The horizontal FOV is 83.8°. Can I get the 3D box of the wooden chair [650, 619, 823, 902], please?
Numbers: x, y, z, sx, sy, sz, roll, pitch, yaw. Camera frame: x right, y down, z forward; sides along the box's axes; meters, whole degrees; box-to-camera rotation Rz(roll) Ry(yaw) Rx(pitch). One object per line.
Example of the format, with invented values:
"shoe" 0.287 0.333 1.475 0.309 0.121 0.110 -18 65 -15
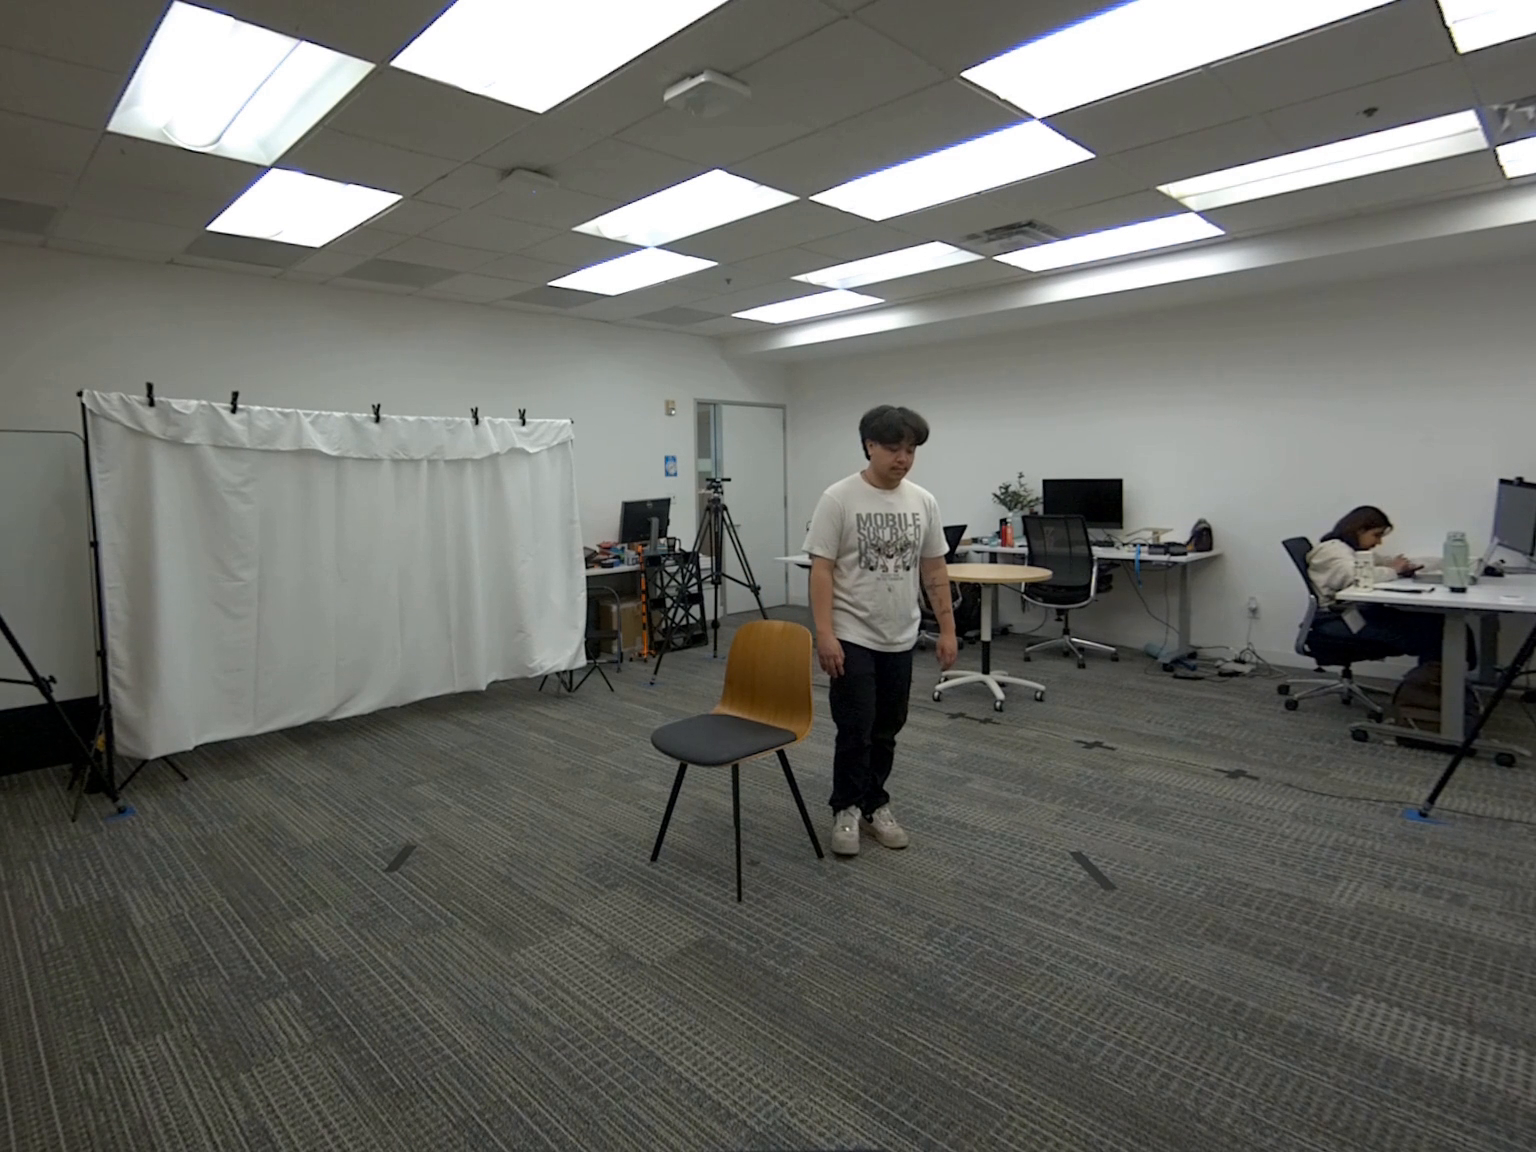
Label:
"wooden chair" -0.121 0.616 3.089 0.493 0.877 0.508 3 2 43
